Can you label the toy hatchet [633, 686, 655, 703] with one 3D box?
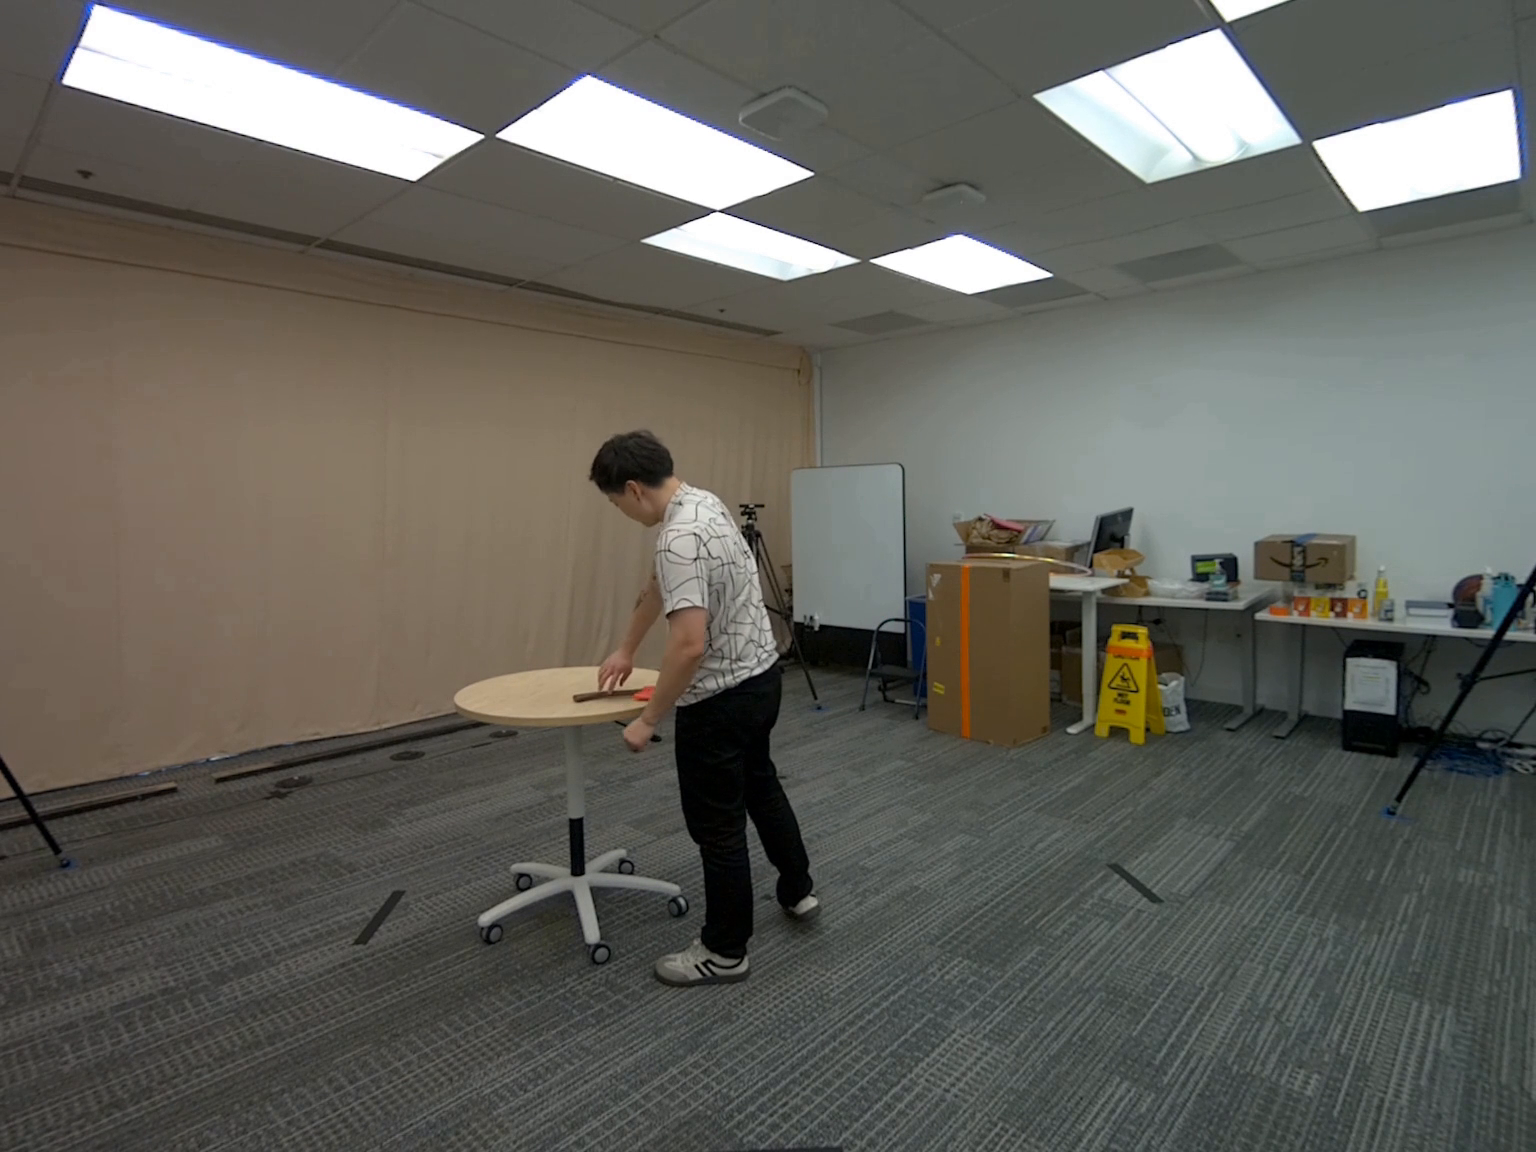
[{"bbox_3d":[-0.495,0.383,2.671,0.264,0.029,0.134,-3,10,-21],"label":"toy hatchet"}]
